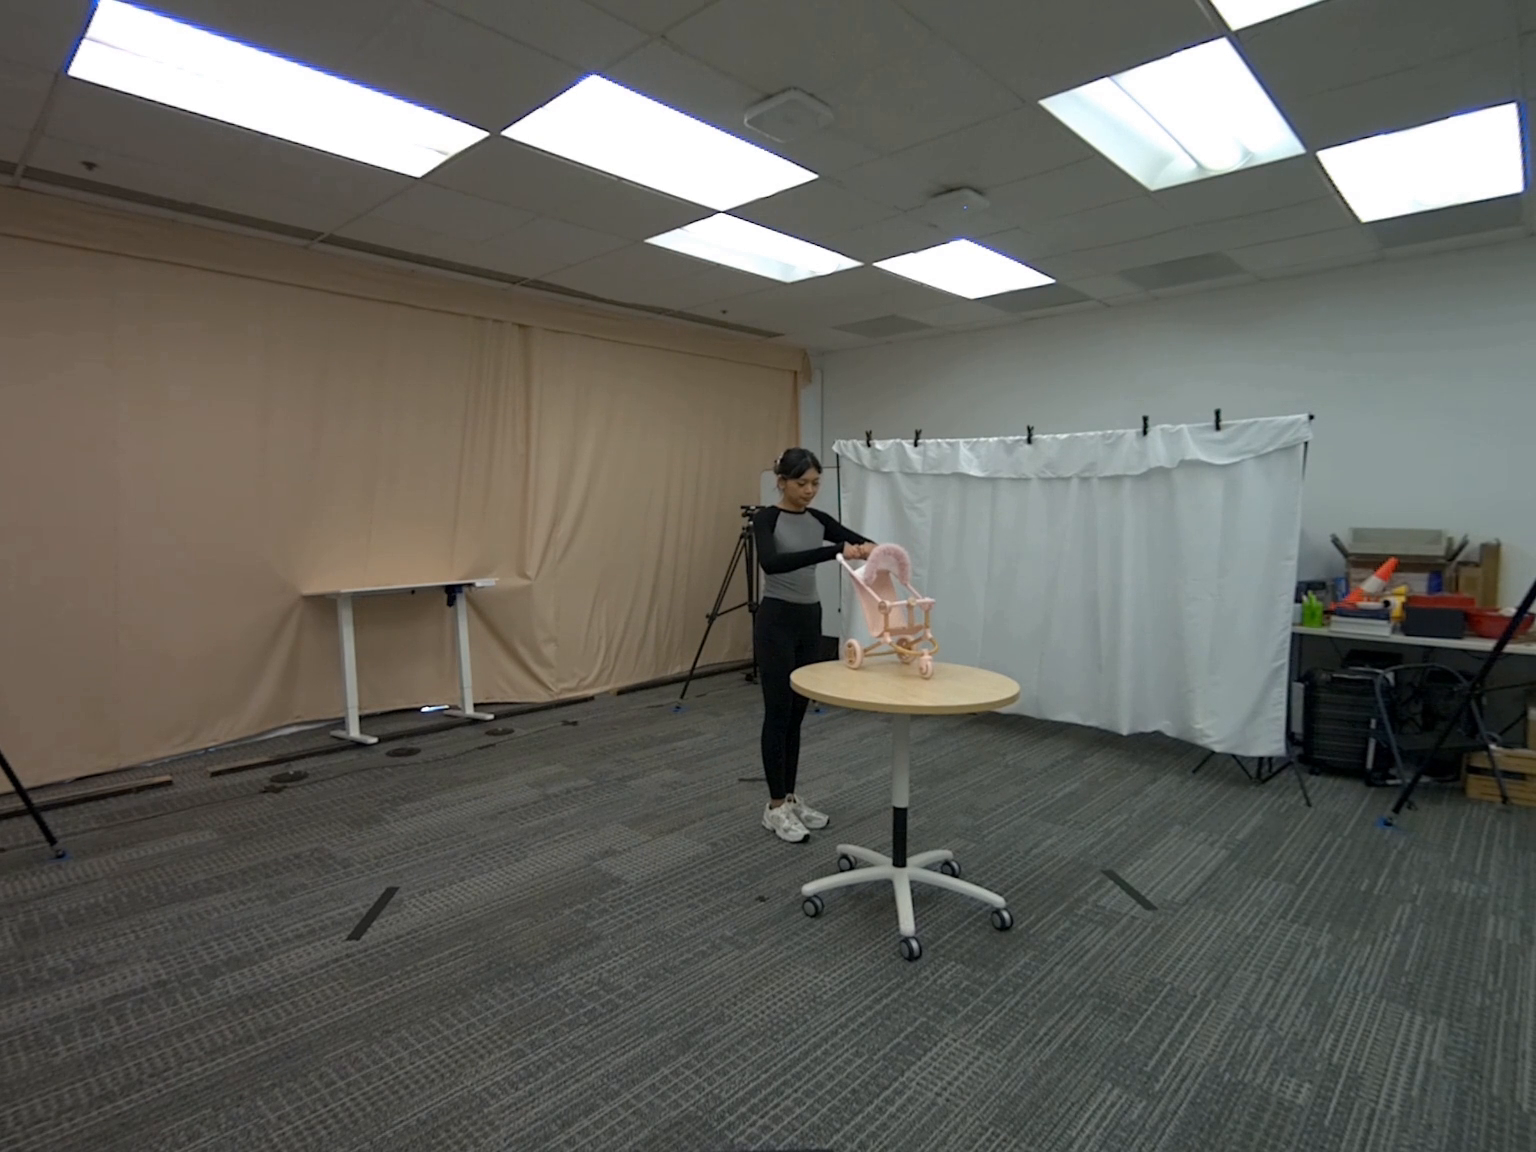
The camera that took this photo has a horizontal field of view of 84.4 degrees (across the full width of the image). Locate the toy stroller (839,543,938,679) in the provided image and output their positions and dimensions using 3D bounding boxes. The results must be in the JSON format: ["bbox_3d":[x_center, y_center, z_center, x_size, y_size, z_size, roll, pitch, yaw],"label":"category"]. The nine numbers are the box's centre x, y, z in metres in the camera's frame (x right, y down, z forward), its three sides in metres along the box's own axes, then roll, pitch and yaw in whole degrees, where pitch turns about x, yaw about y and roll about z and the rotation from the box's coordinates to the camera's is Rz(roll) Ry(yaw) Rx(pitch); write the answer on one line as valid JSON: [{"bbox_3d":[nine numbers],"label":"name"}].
[{"bbox_3d":[0.450,0.119,3.070,0.275,0.539,0.347,-2,-12,-26],"label":"toy stroller"}]
